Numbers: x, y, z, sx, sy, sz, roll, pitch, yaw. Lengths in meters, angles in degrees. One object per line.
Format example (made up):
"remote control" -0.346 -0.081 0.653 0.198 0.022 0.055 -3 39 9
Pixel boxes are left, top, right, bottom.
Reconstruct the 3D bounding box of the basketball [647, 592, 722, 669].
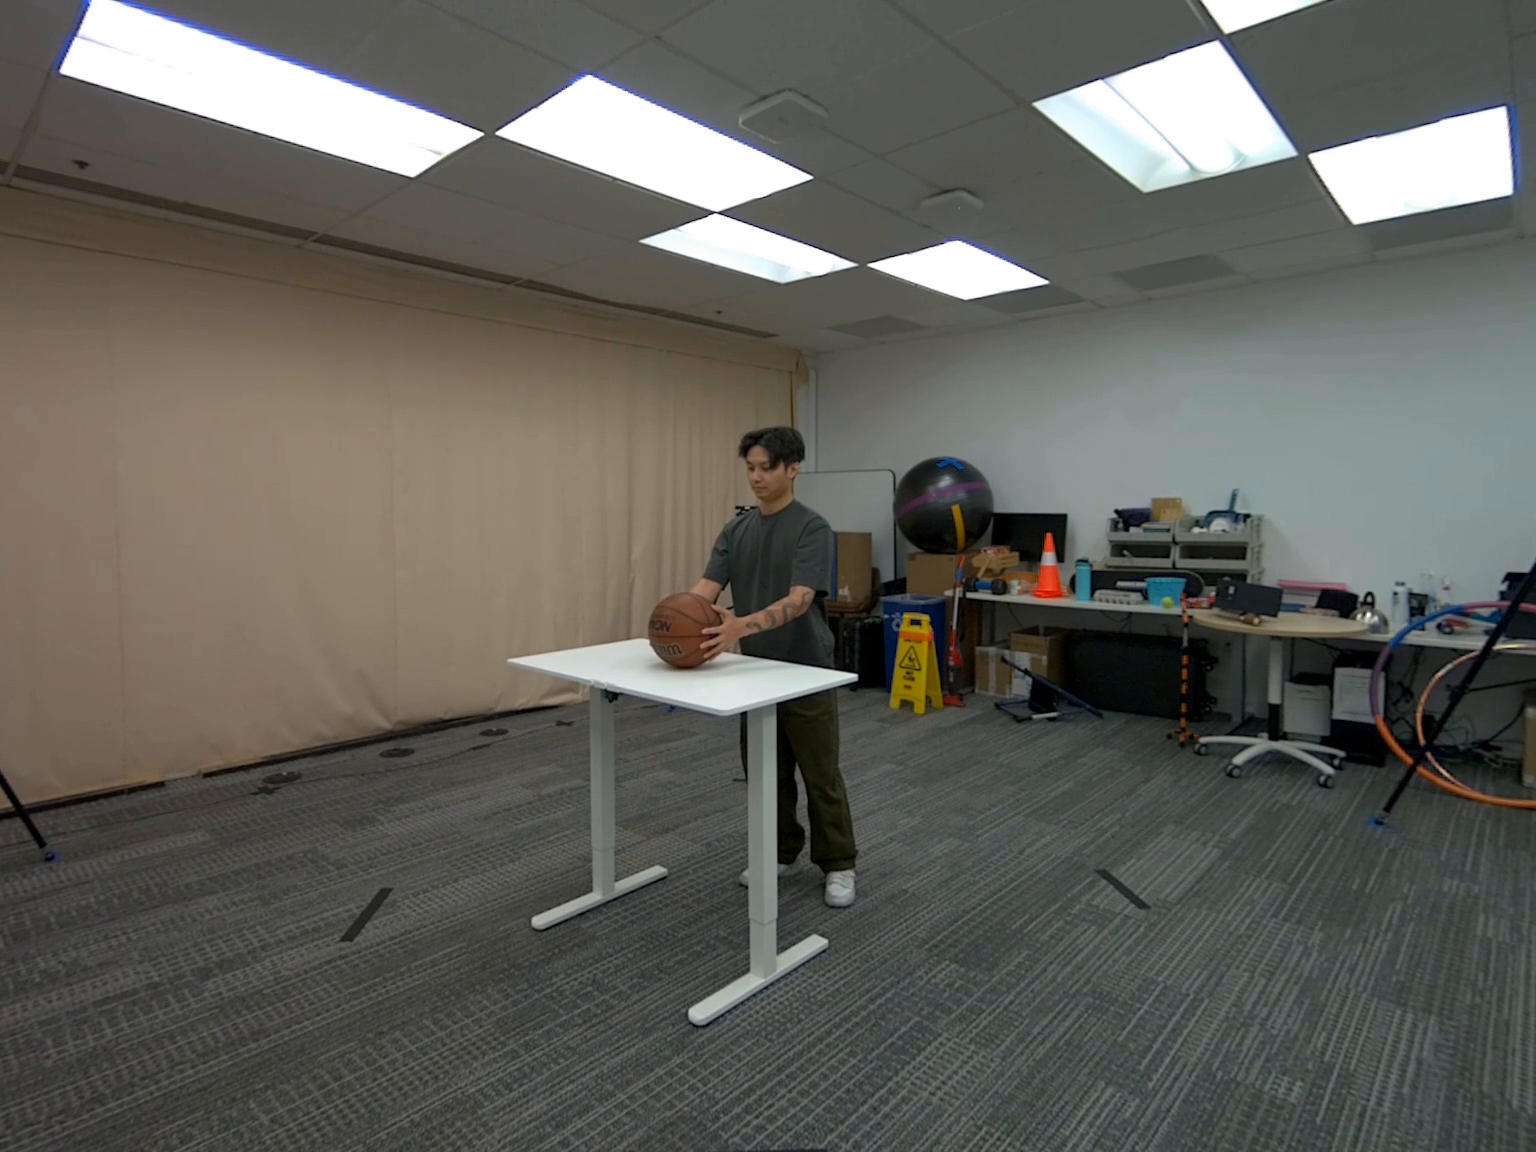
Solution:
"basketball" -0.258 0.172 2.677 0.236 0.235 0.237 0 4 -2
